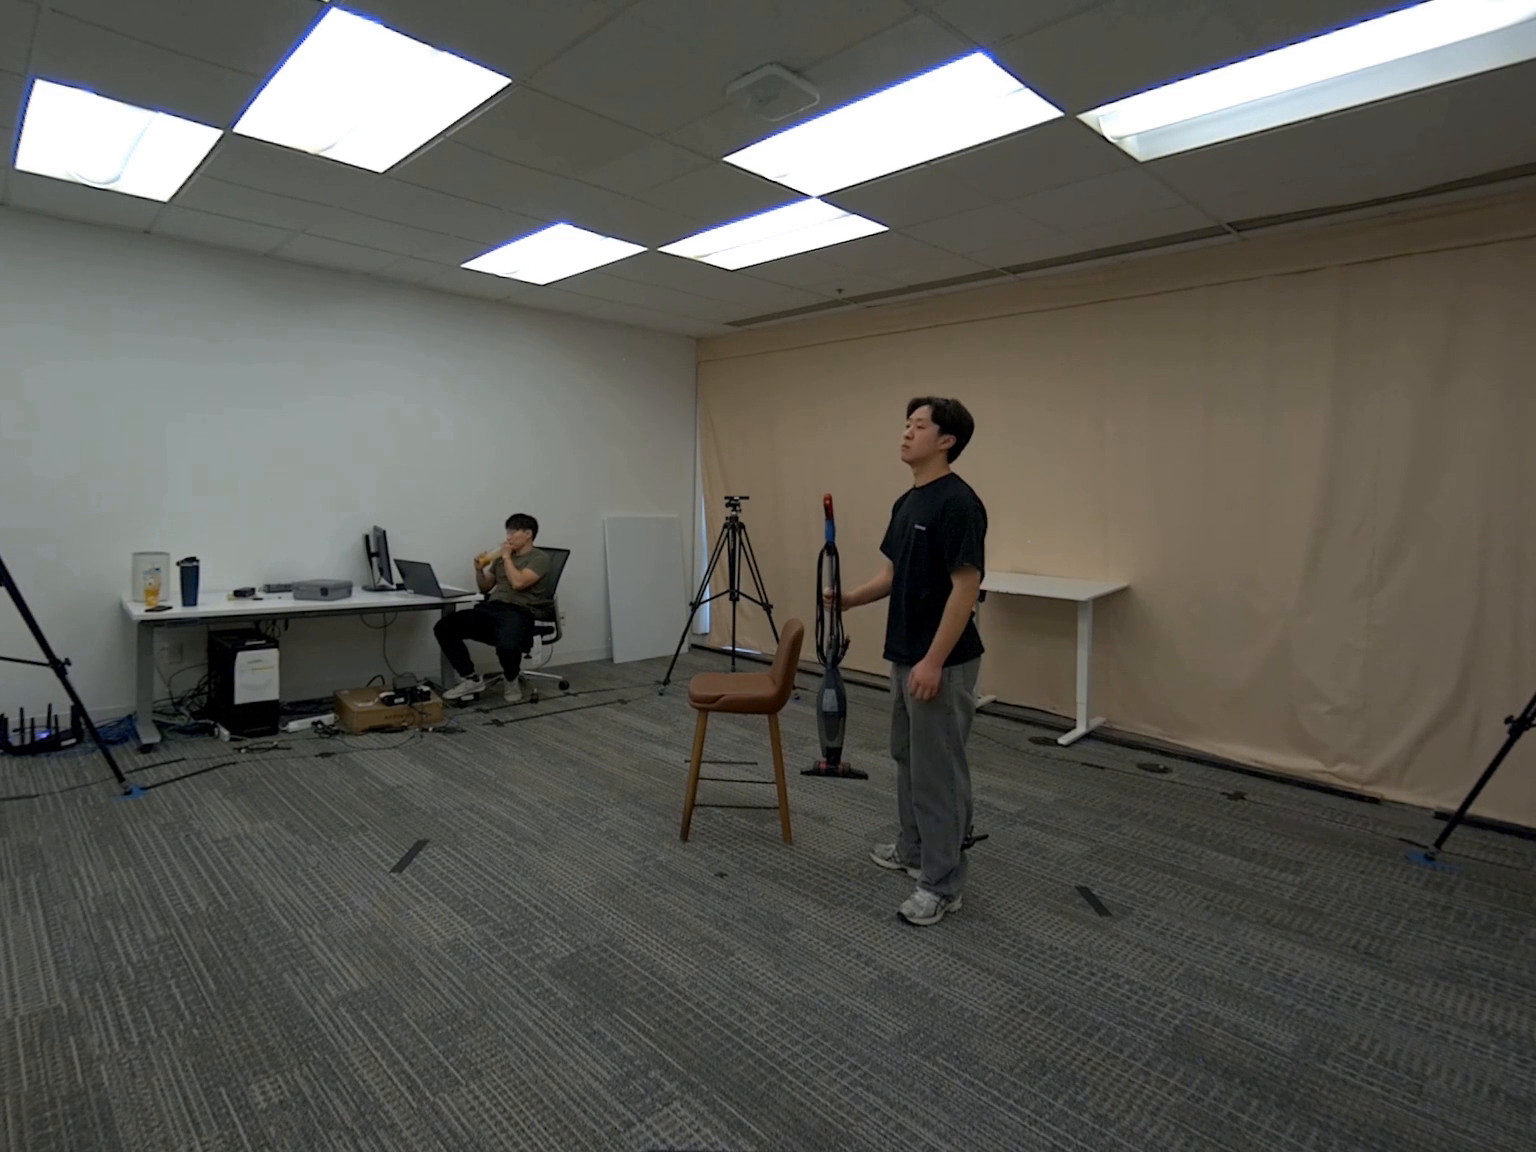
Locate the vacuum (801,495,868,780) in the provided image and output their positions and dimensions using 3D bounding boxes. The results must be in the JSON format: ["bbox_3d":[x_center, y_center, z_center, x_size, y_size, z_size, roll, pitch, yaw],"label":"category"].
[{"bbox_3d":[0.221,0.228,3.024,0.256,1.039,0.143,2,14,20],"label":"vacuum"}]
